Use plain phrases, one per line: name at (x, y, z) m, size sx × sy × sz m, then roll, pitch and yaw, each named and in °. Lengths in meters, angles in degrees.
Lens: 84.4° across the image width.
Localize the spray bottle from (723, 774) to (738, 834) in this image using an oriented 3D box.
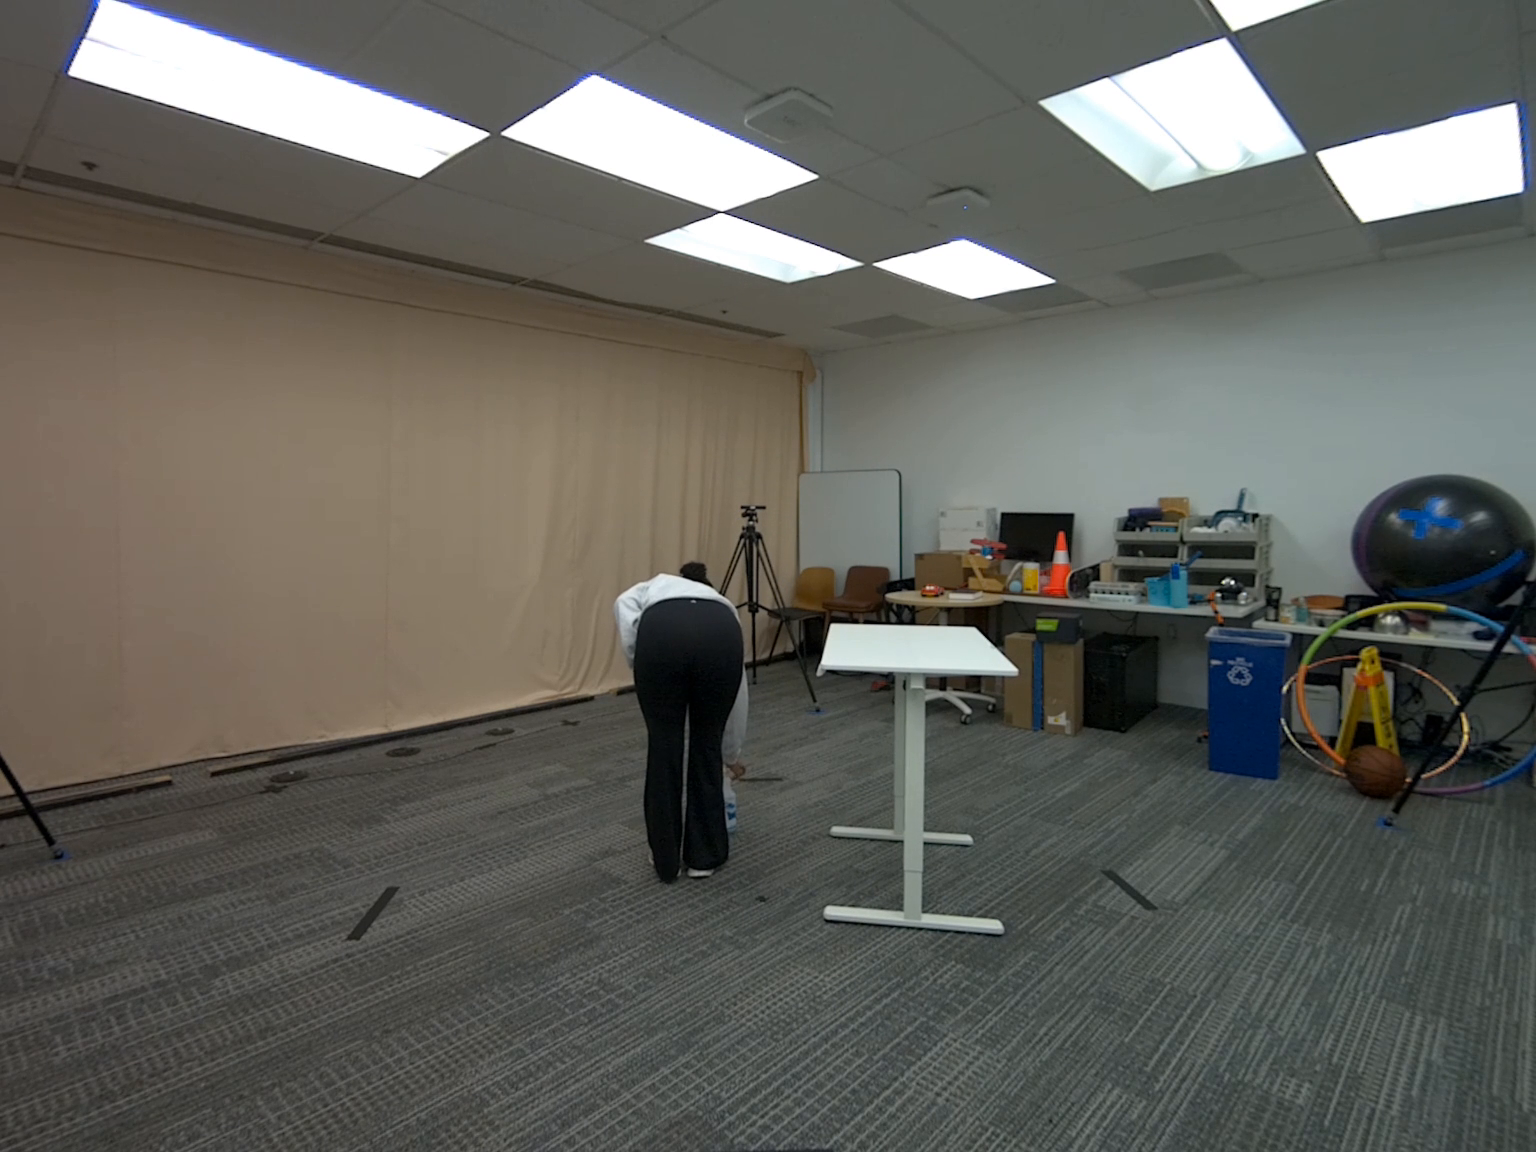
spray bottle at (-0.177, 0.957, 3.618) m, size 0.089 × 0.297 × 0.088 m, roll -2°, pitch -1°, yaw 18°
